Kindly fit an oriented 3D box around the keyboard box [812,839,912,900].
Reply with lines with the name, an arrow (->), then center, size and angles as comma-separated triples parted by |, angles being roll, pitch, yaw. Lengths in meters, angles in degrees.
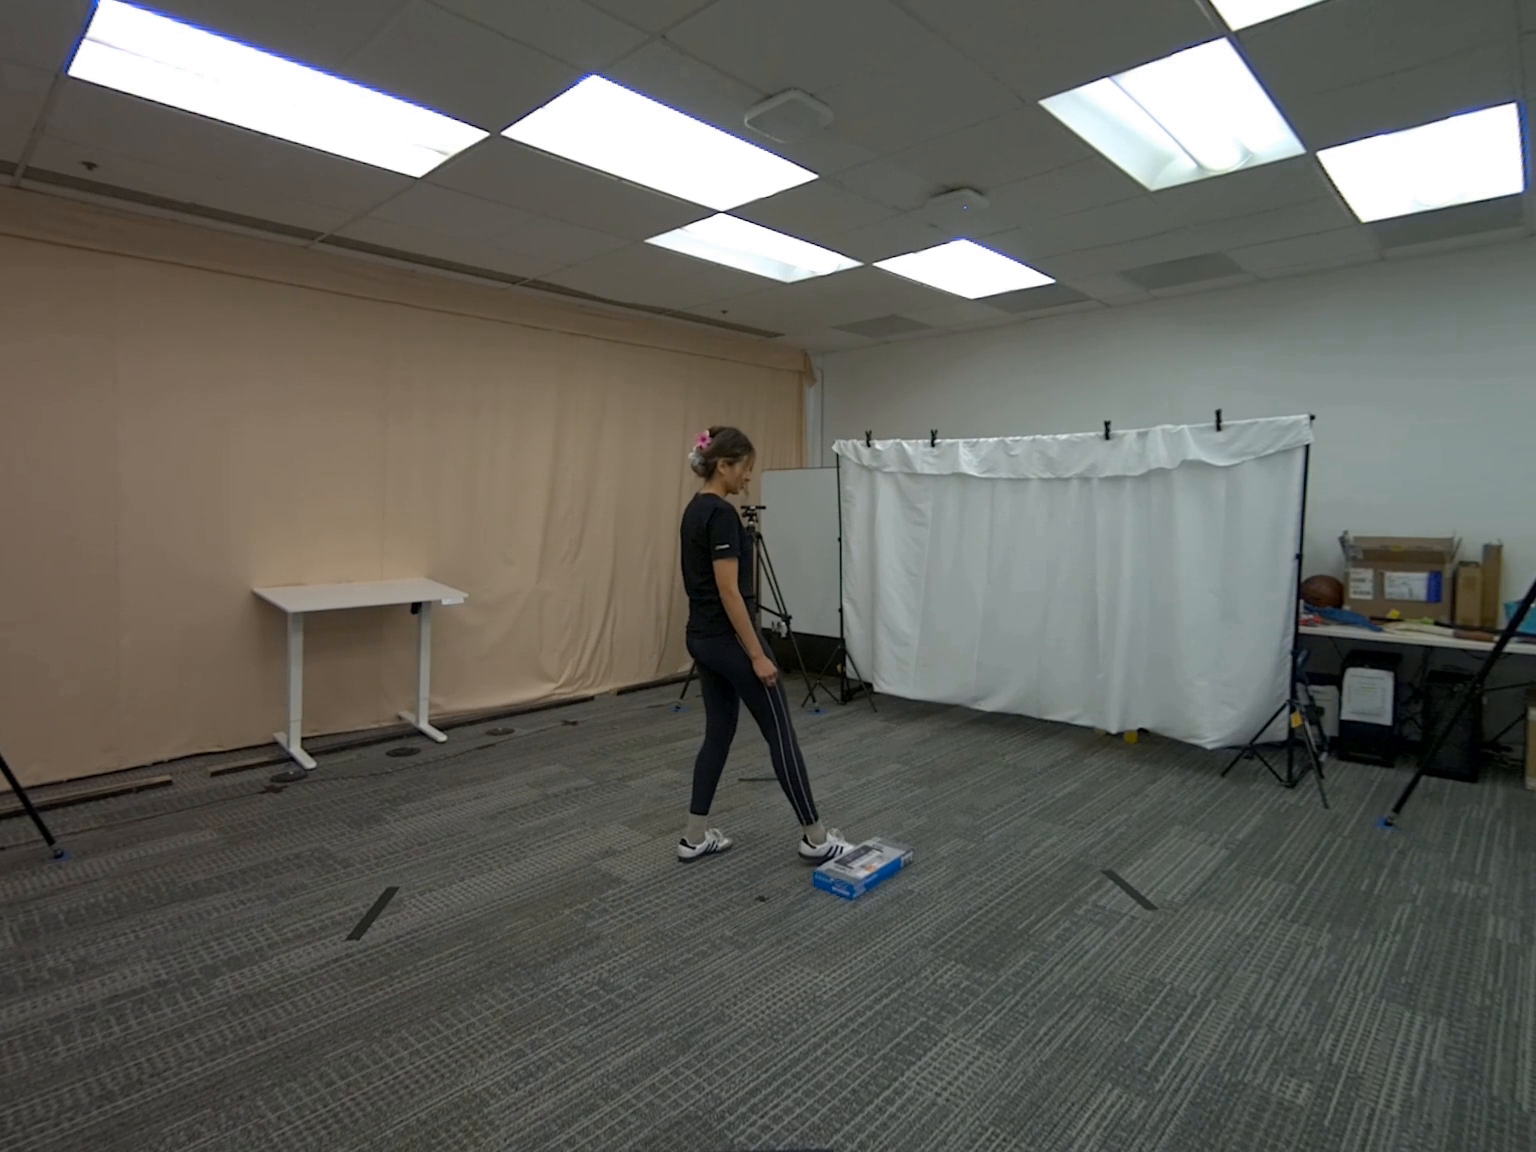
keyboard box -> 0.372, 1.097, 3.180 | 0.182, 0.059, 0.424 | 5, 7, 40
